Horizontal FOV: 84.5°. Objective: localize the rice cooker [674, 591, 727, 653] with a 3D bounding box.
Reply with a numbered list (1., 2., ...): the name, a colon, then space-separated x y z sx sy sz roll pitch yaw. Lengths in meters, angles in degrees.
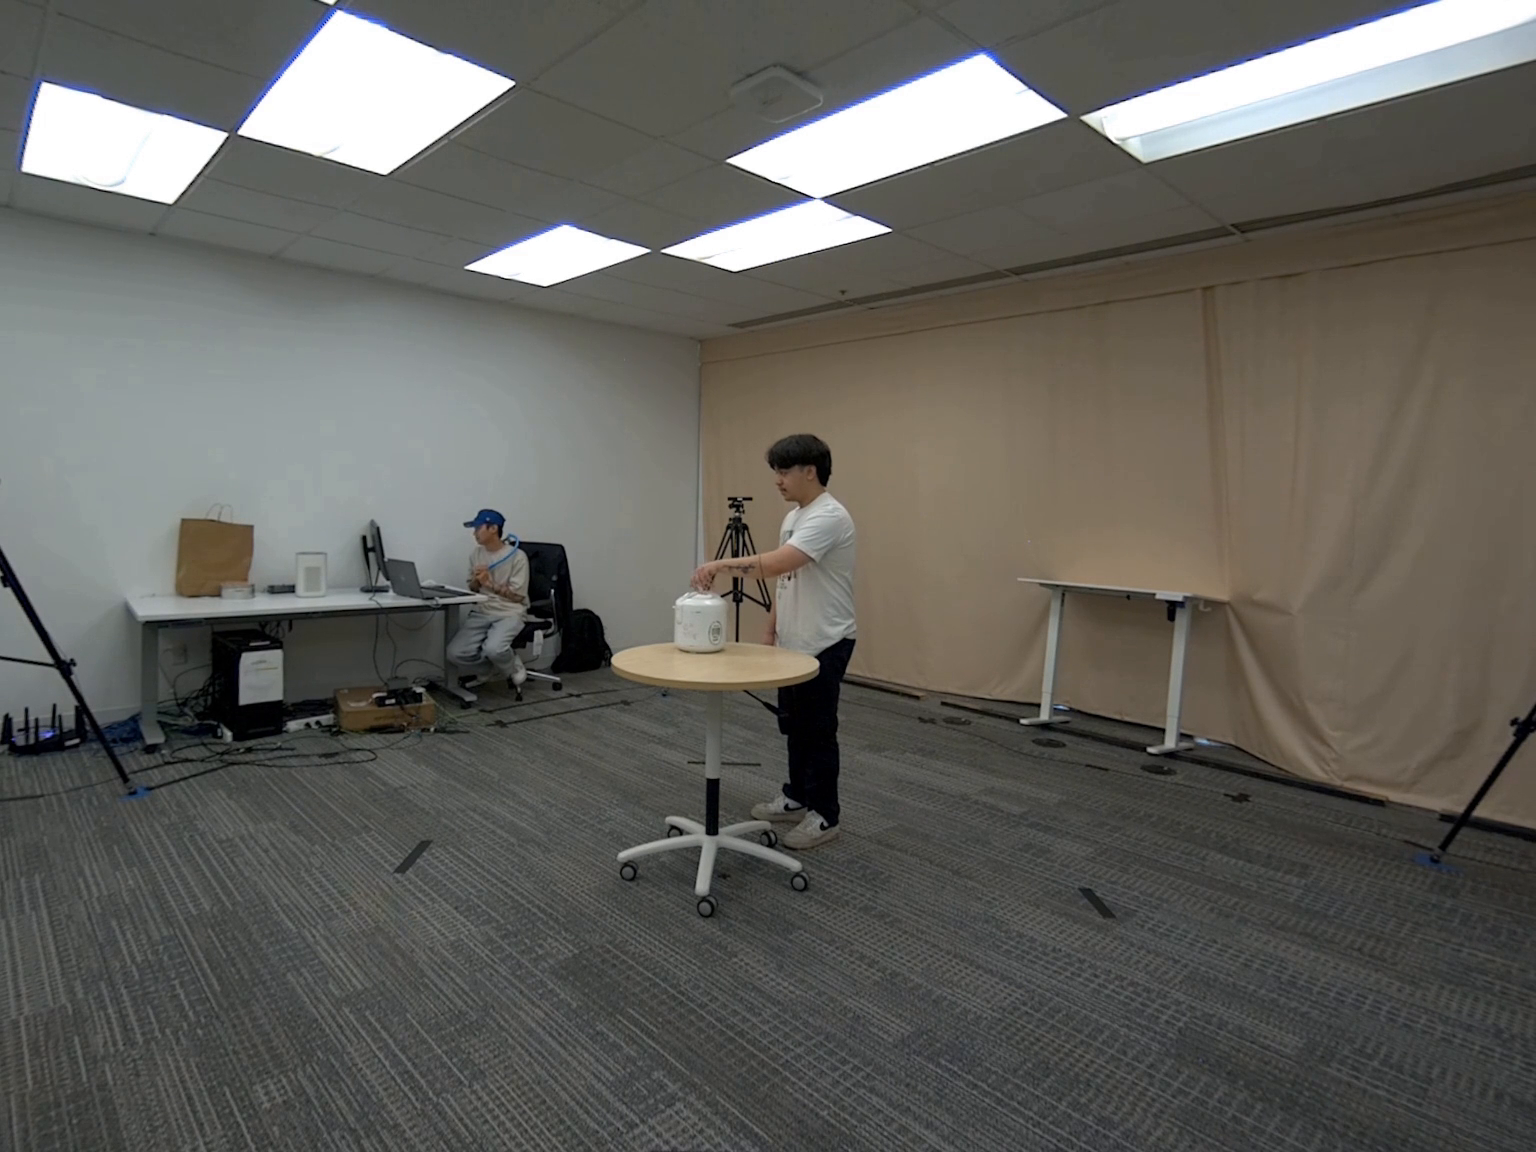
1. rice cooker: -0.268 0.173 3.299 0.216 0.232 0.223 -3 5 -37
